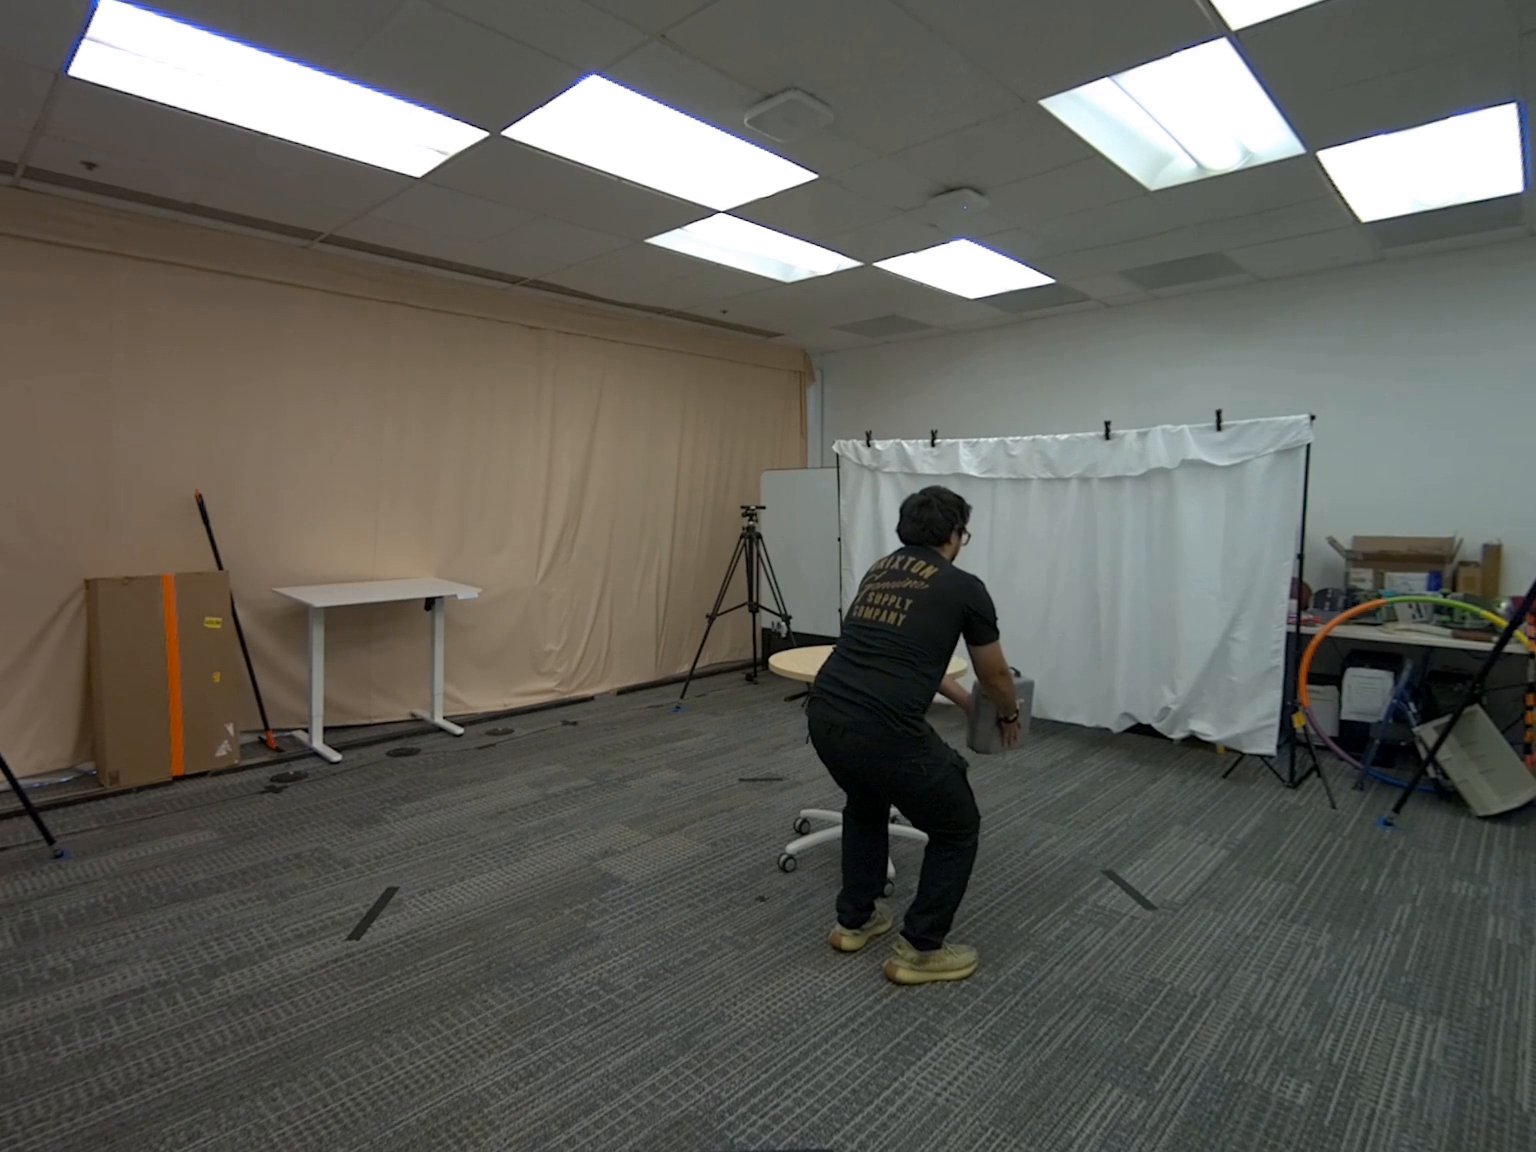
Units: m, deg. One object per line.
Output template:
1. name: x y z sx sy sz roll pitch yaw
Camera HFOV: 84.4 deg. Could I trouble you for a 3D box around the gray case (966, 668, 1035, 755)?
1. gray case: 0.803 0.466 2.870 0.249 0.260 0.108 0 8 -42
